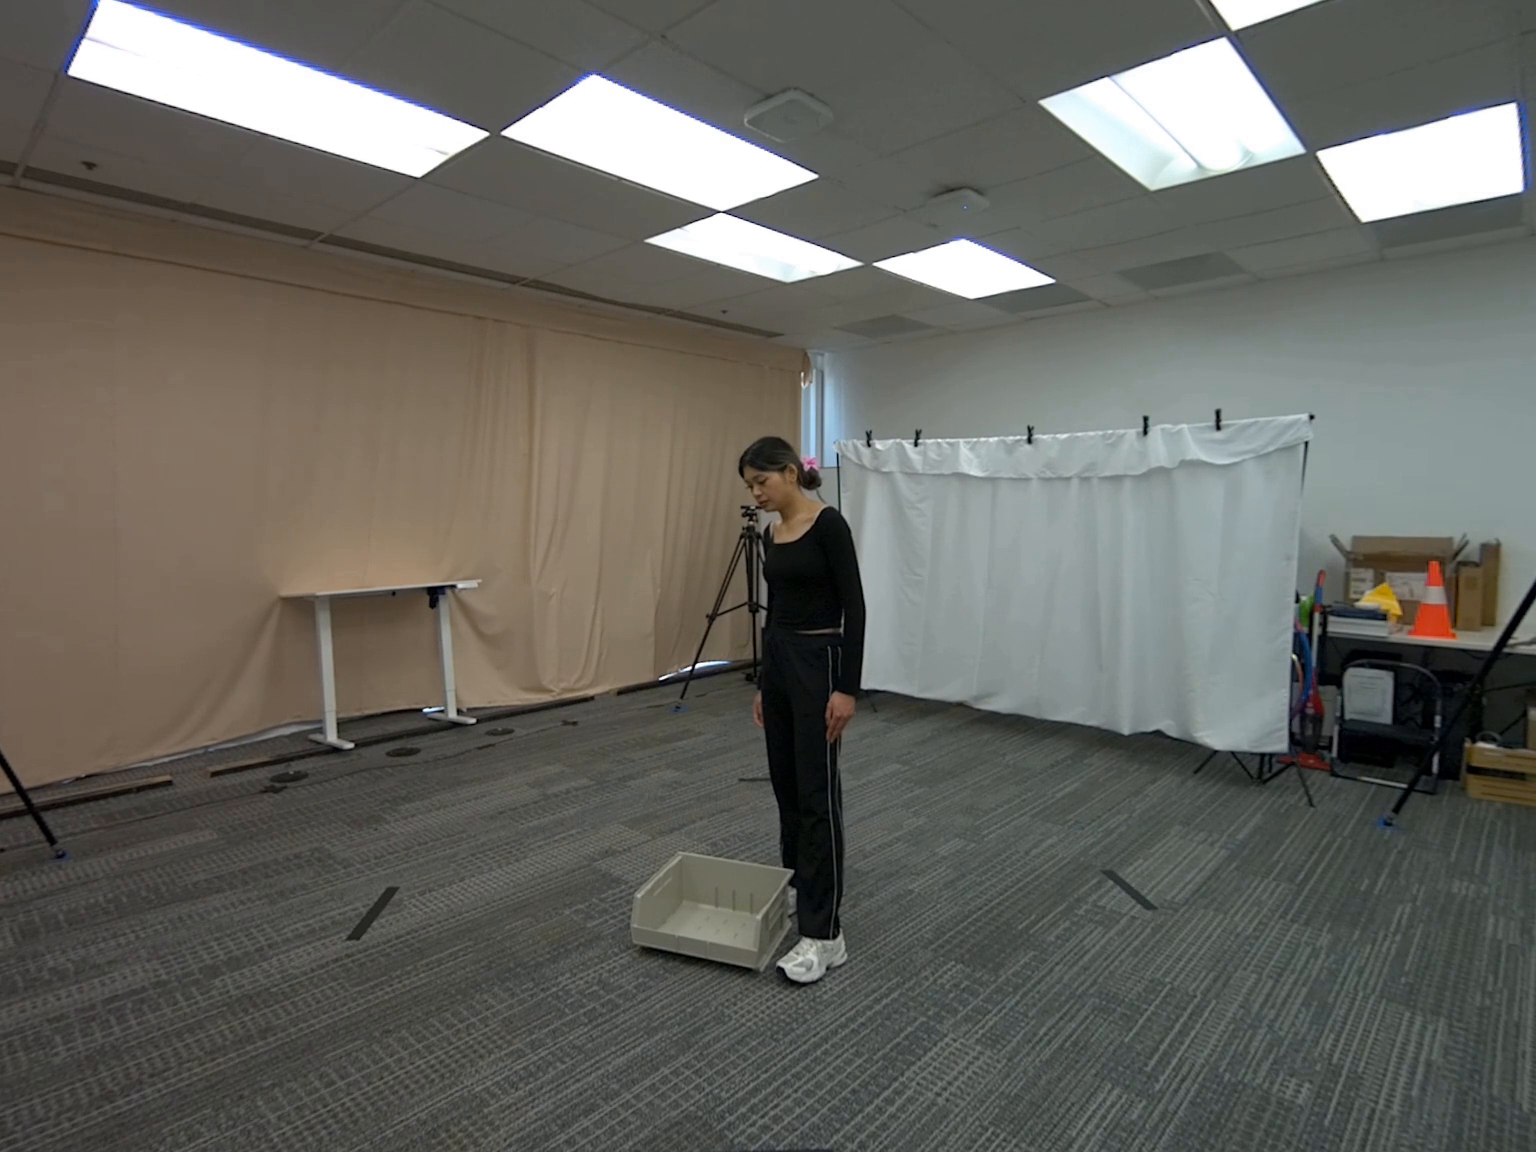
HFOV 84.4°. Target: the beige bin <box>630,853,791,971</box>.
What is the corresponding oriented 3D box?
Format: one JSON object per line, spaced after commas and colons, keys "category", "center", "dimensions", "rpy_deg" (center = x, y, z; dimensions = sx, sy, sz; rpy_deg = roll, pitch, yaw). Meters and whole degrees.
{"category": "beige bin", "center": [-0.171, 1.085, 2.709], "dimensions": [0.432, 0.188, 0.370], "rpy_deg": [1, 4, 21]}
